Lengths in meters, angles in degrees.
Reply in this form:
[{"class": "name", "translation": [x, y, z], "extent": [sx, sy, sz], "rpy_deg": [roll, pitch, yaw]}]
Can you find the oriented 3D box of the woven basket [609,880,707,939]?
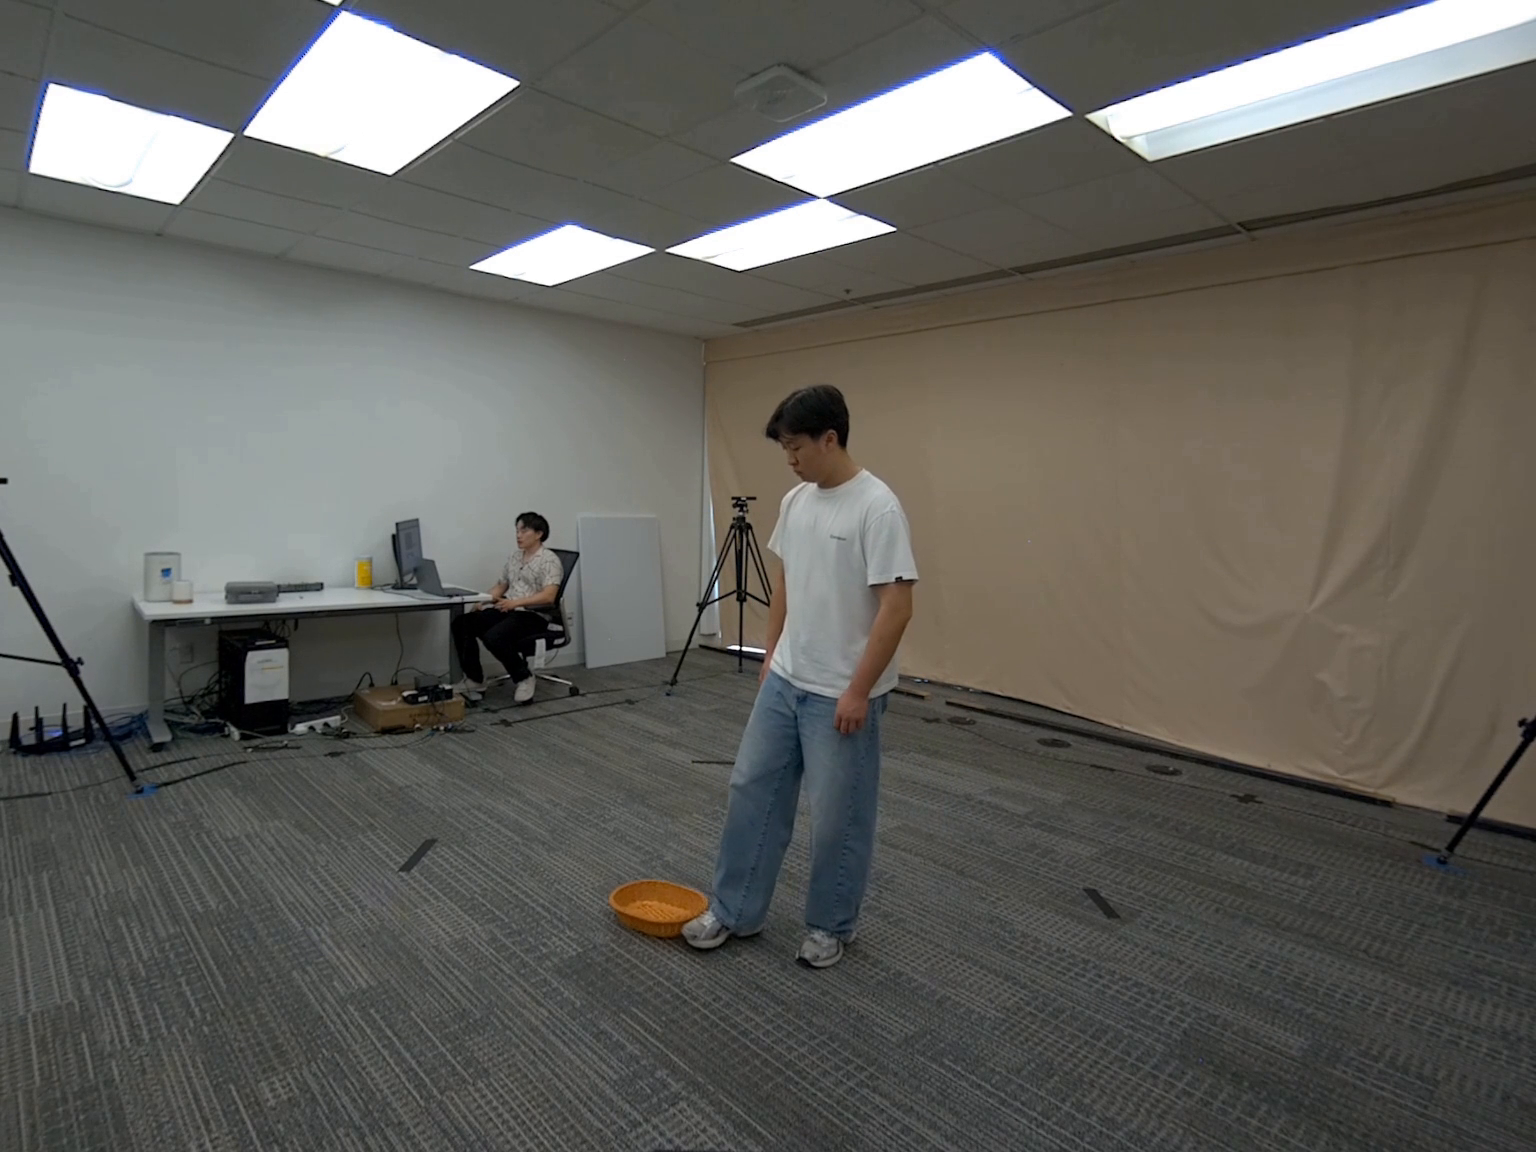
[{"class": "woven basket", "translation": [-0.362, 1.092, 2.750], "extent": [0.359, 0.073, 0.247], "rpy_deg": [3, 5, 39]}]
